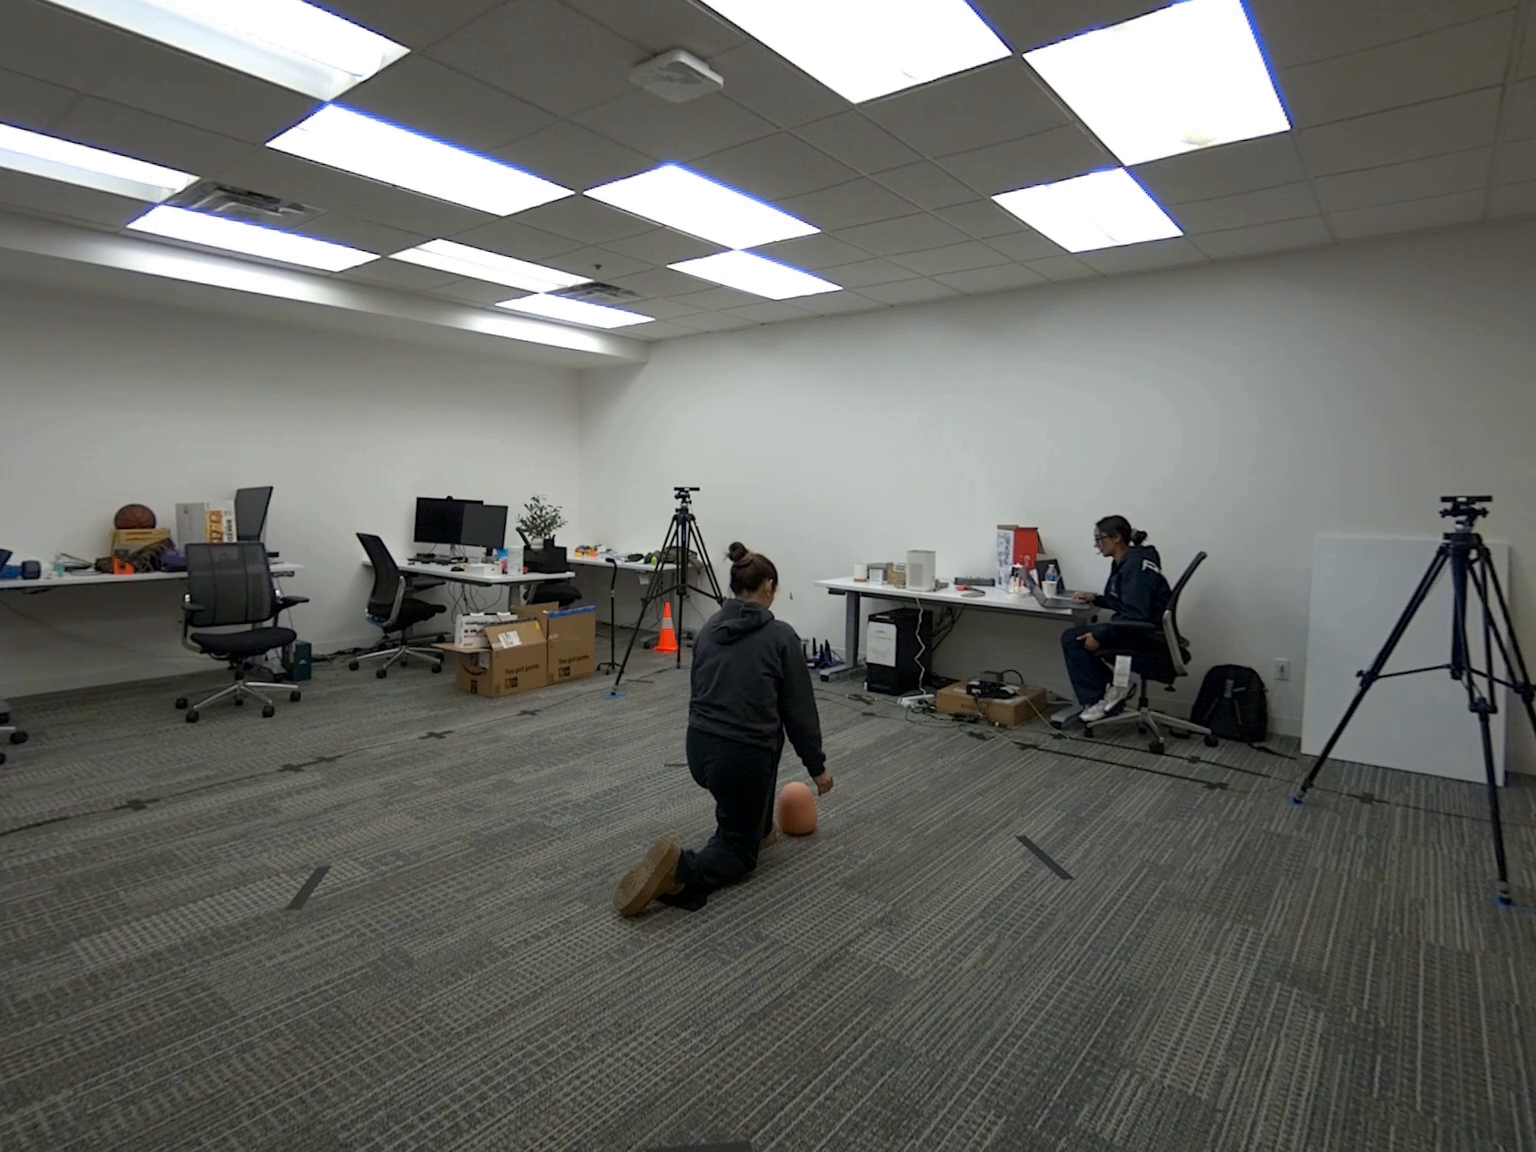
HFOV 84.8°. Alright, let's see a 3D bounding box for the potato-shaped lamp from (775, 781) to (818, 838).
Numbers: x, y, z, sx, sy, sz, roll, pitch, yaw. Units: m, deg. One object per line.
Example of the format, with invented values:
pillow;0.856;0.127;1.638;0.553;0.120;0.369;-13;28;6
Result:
potato-shaped lamp;0.117;0.936;3.472;0.170;0.197;0.167;3;7;33
